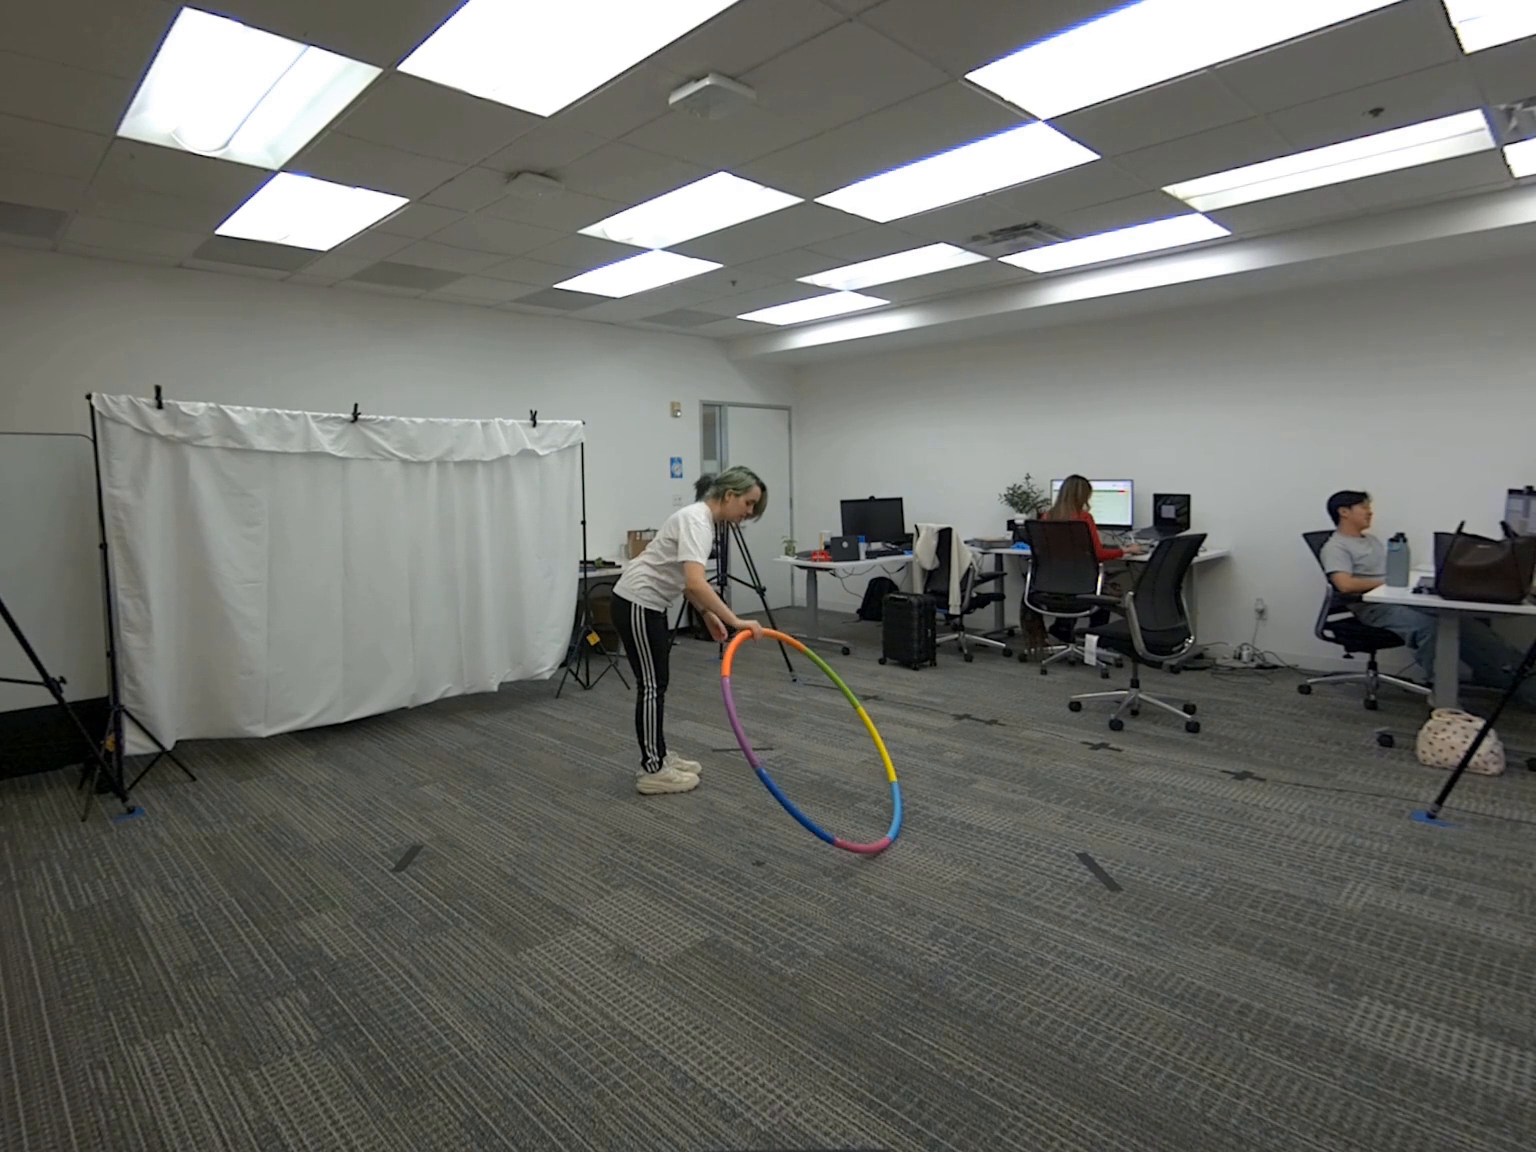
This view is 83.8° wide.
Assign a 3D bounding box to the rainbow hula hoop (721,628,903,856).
[{"bbox_3d":[0.185,0.621,3.386,0.035,0.998,0.958,-43,-16,25],"label":"rainbow hula hoop"}]
